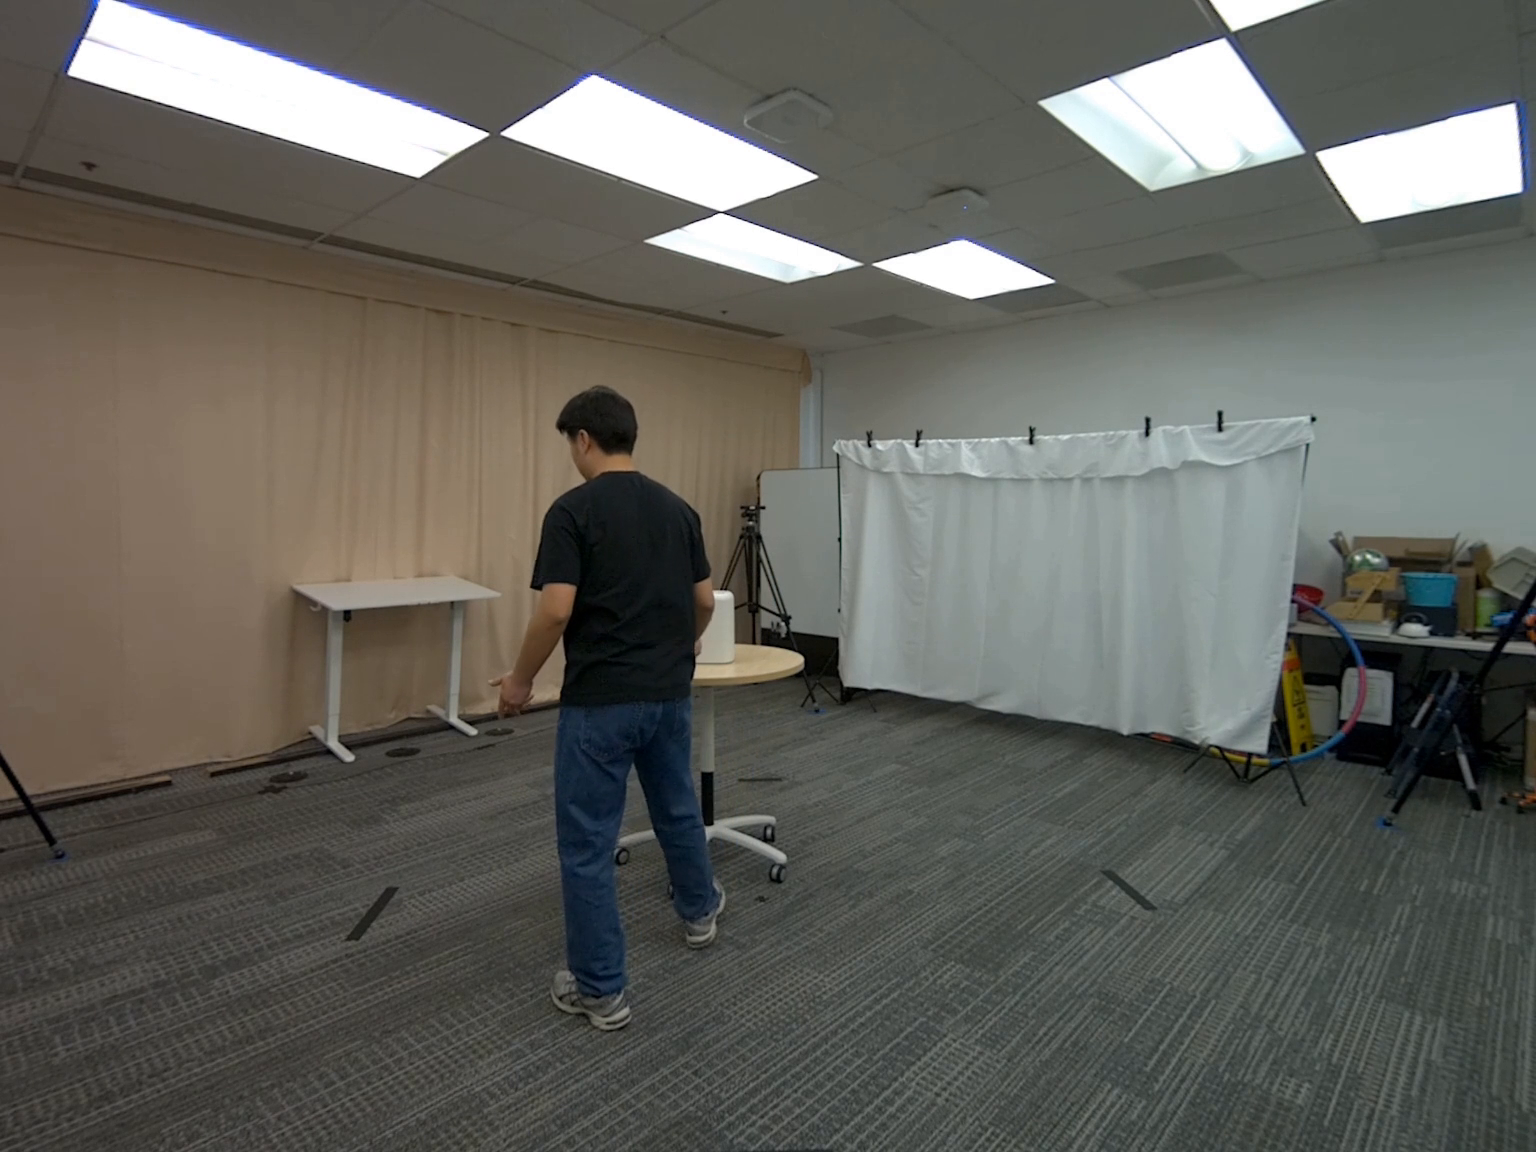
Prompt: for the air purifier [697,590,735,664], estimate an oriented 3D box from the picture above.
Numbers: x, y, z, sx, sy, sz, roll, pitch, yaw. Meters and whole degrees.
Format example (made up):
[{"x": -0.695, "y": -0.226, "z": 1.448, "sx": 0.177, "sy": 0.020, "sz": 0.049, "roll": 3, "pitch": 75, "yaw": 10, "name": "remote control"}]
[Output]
[{"x": -0.213, "y": 0.197, "z": 3.257, "sx": 0.172, "sy": 0.265, "sz": 0.170, "roll": -1, "pitch": 4, "yaw": 7, "name": "air purifier"}]
